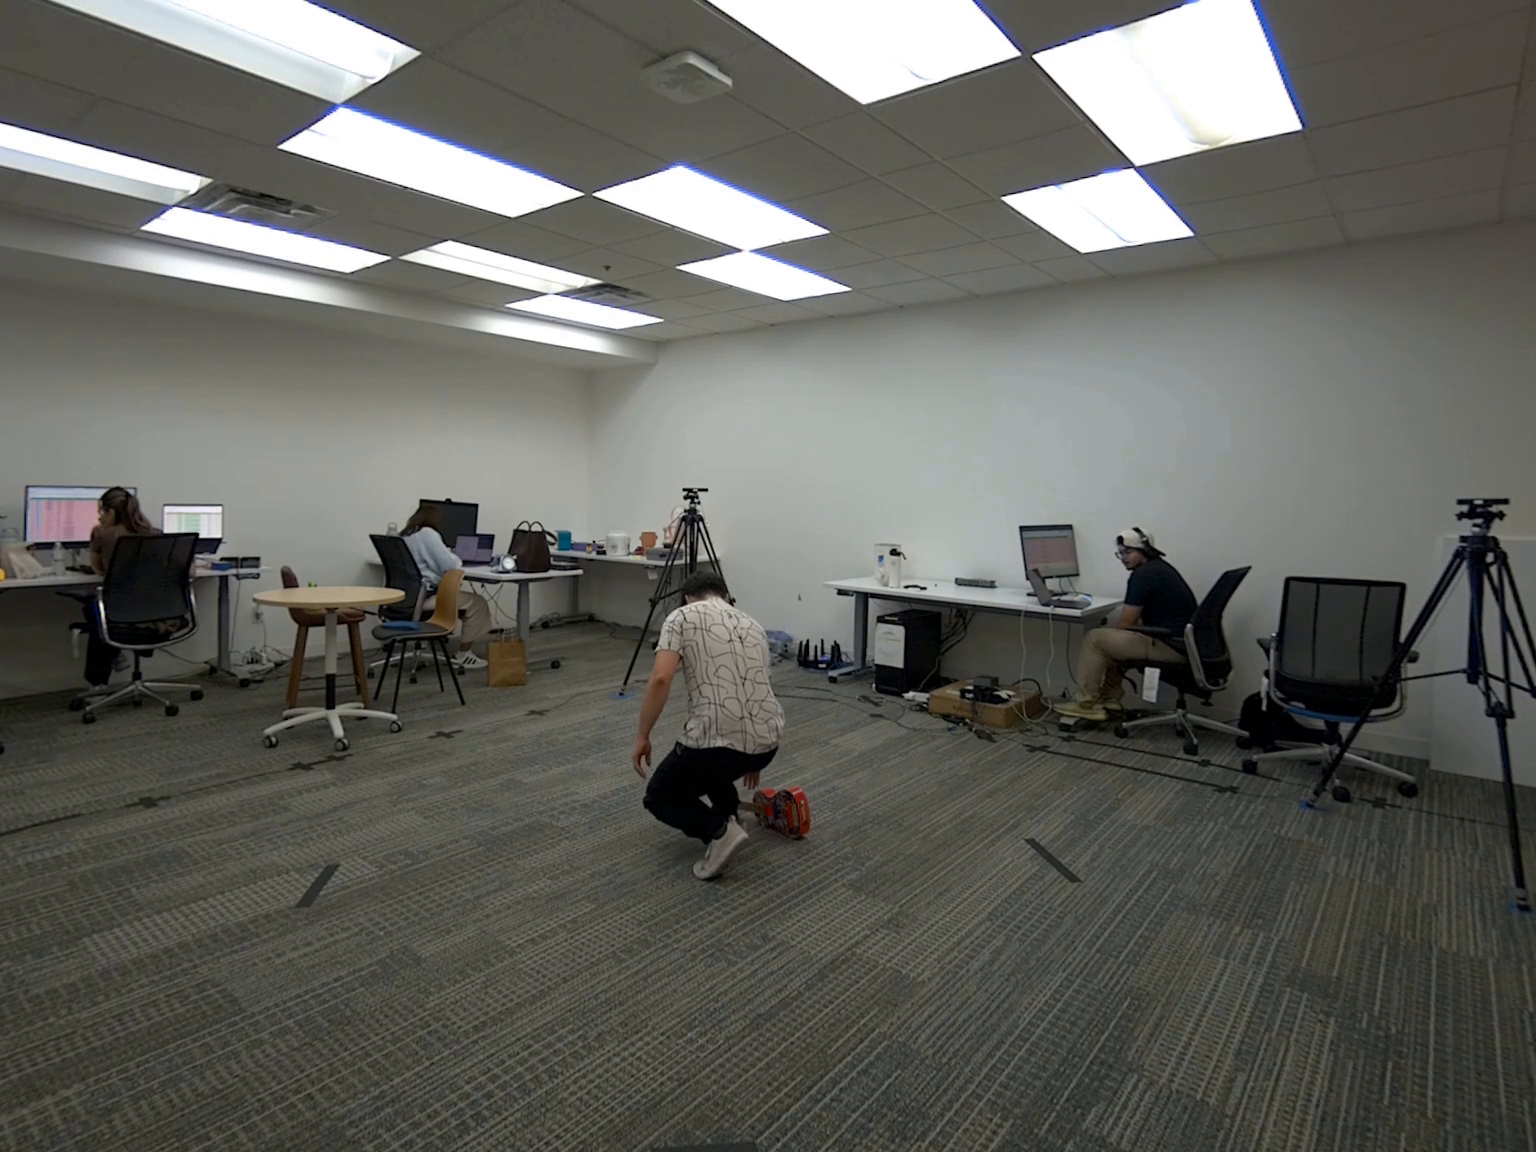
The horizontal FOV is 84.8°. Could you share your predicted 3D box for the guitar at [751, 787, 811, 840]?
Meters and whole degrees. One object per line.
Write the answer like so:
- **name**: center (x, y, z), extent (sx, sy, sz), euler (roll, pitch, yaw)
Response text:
- **guitar**: center (-0.044, 0.936, 3.554), extent (0.069, 0.192, 0.515), euler (-7, 9, -44)
